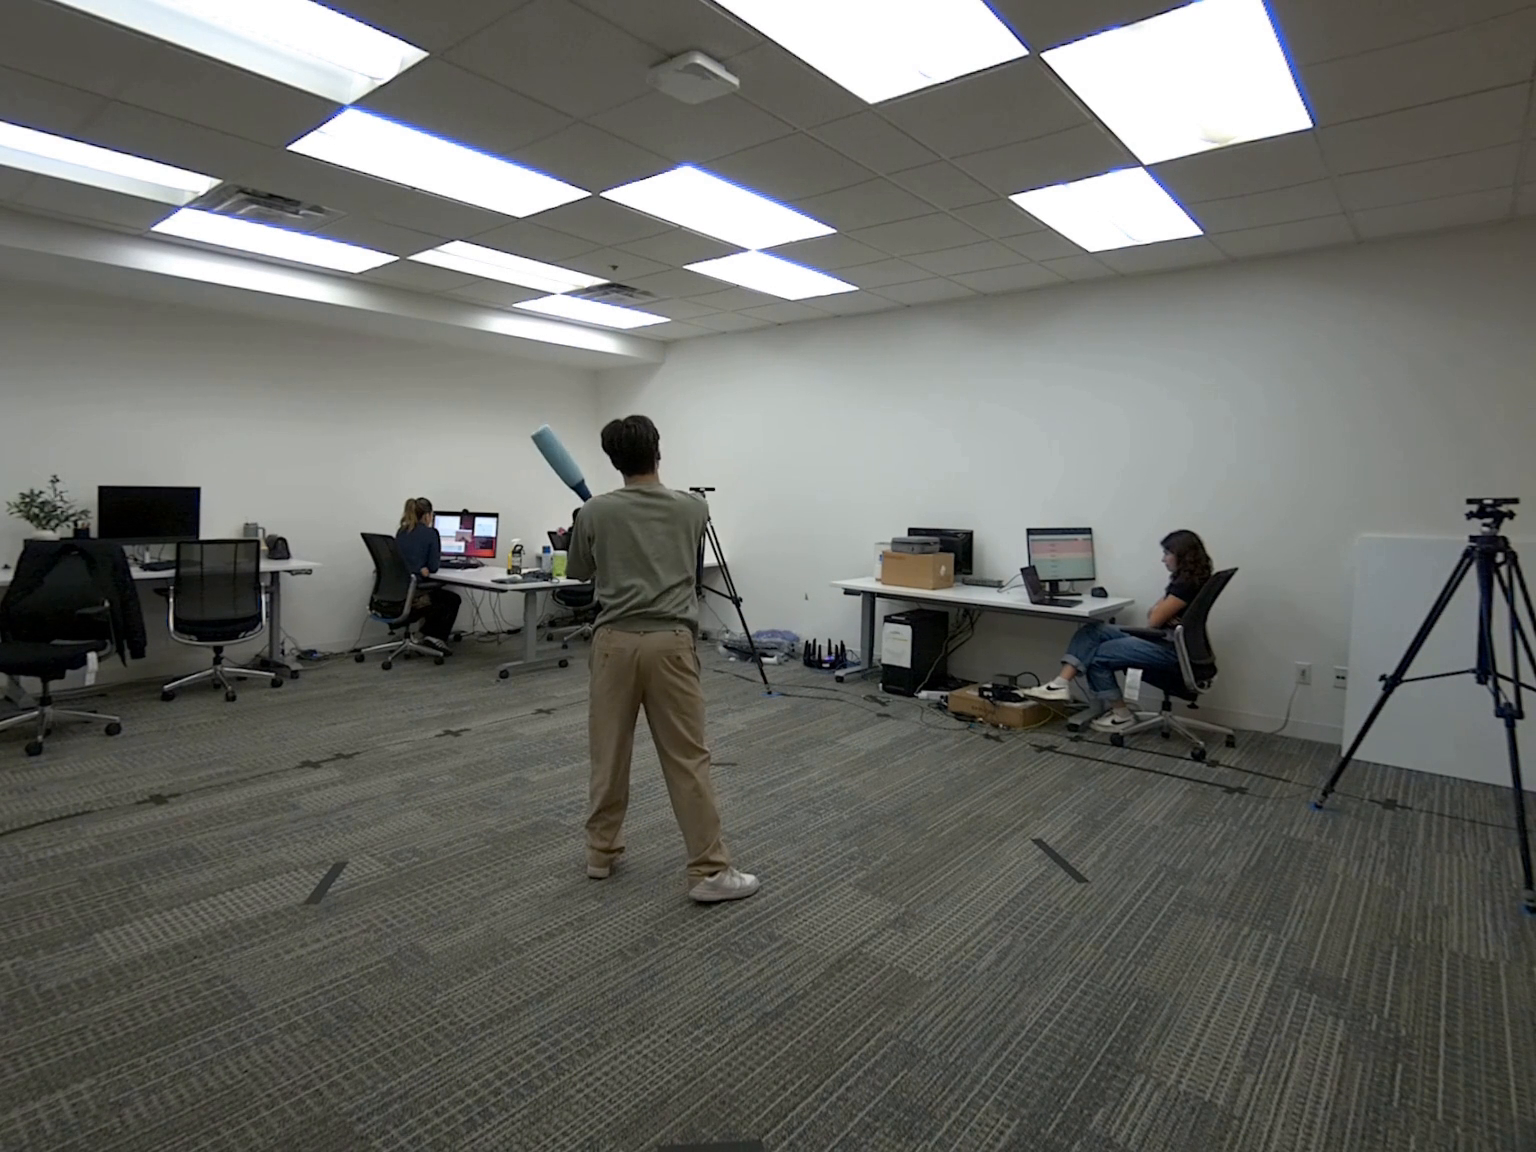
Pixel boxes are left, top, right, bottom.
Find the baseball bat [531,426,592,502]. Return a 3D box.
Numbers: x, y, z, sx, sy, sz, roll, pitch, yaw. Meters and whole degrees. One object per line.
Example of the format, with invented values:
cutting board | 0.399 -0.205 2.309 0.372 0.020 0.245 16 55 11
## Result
baseball bat | -0.735 -0.327 3.312 0.089 0.533 0.090 -32 13 8
